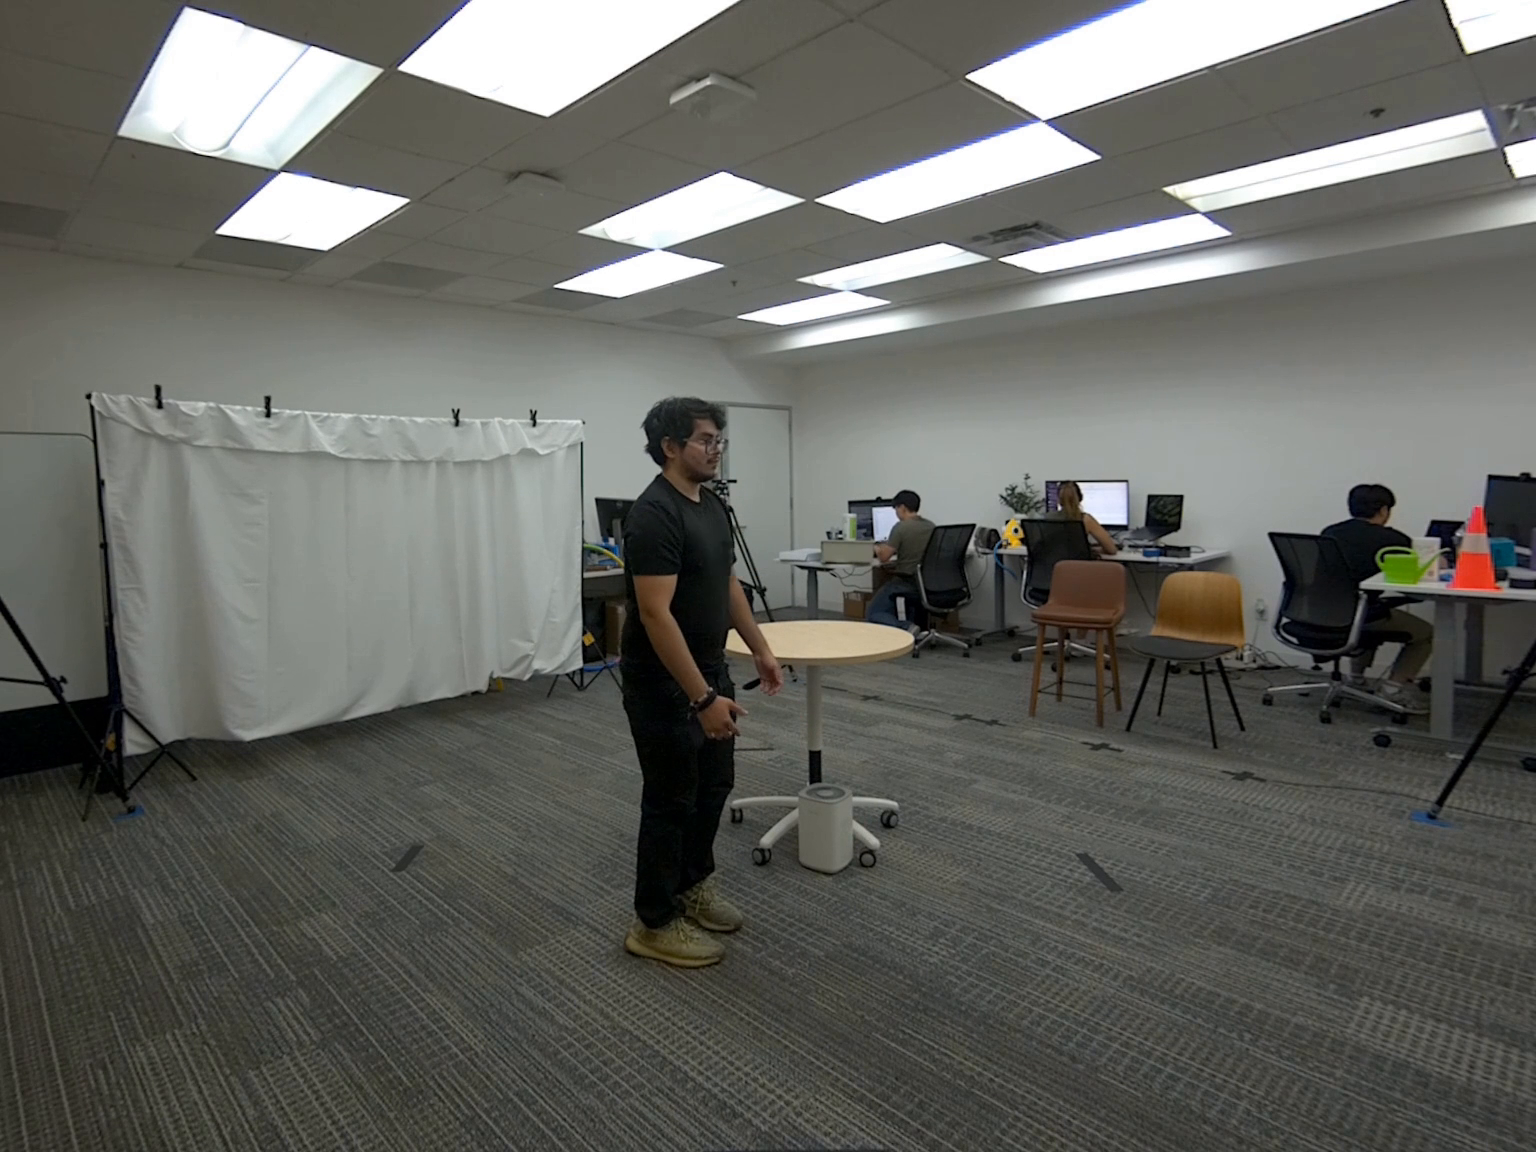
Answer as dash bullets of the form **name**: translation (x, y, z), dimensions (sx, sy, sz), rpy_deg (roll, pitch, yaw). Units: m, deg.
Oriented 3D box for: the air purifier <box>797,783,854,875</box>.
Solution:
- **air purifier**: translation (0.212, 0.911, 3.087), dimensions (0.176, 0.264, 0.167), rpy_deg (2, 4, 34)
